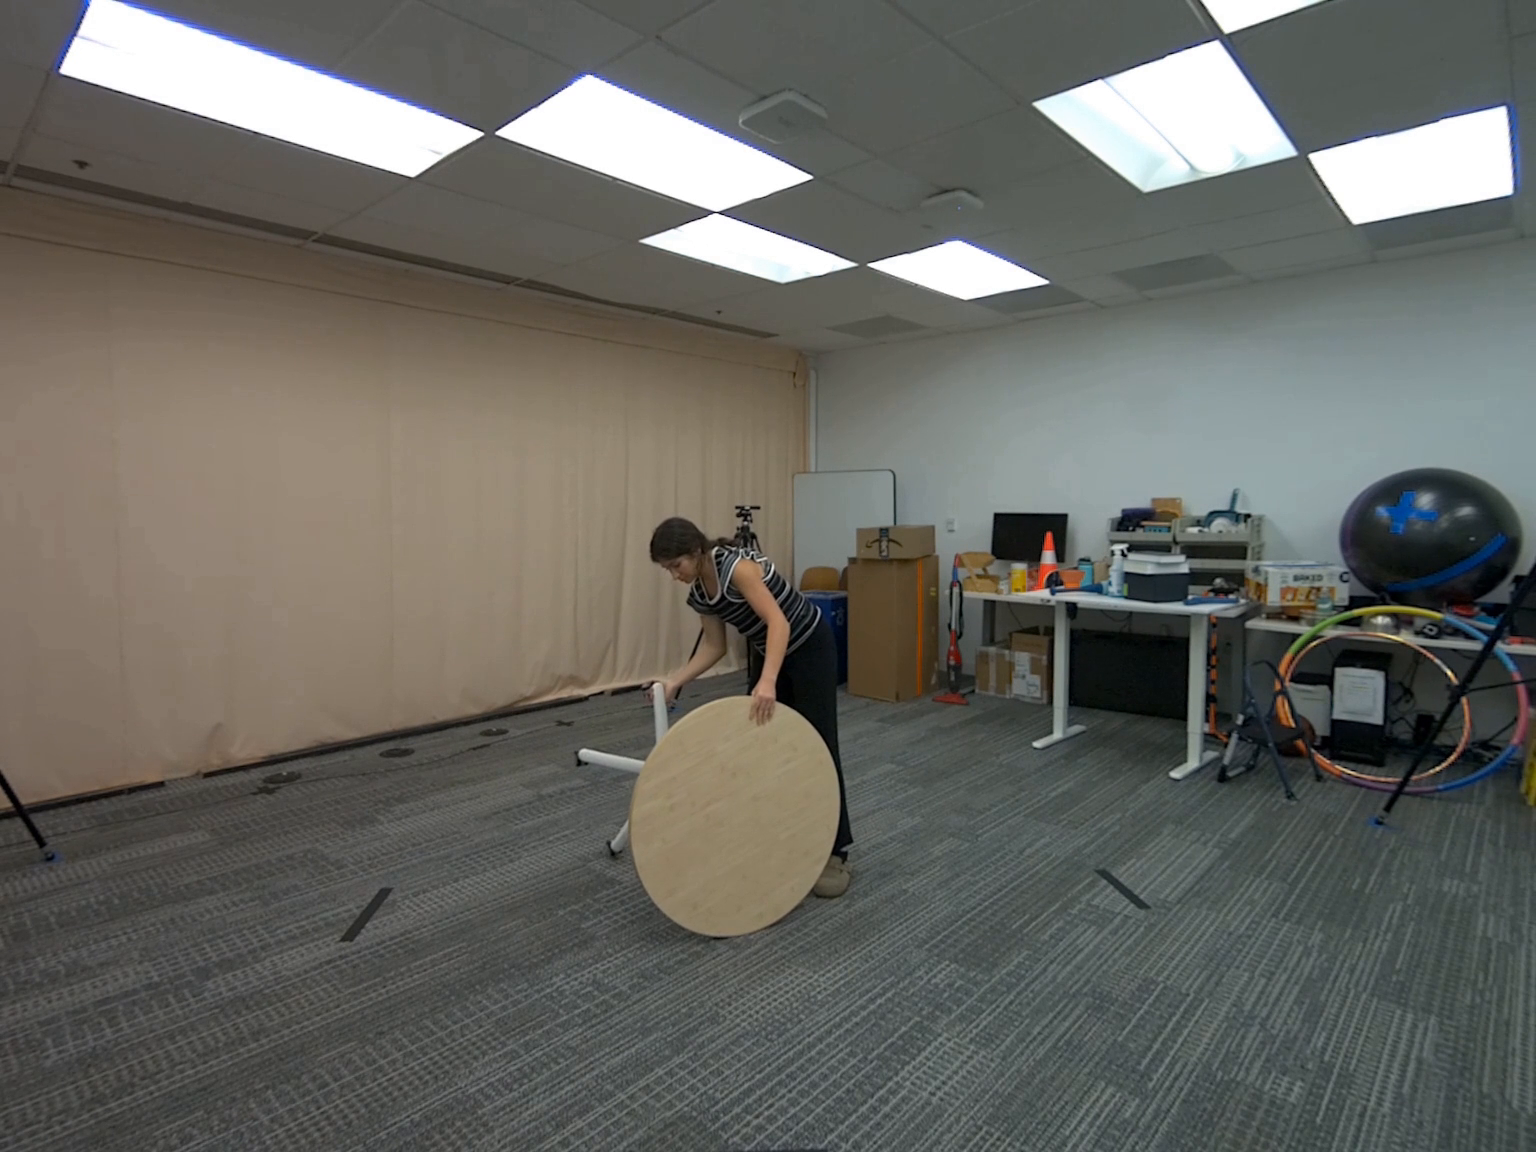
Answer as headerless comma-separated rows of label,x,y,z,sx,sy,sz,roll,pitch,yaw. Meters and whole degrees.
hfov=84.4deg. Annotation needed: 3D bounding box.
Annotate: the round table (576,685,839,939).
round table,-0.286,0.791,3.101,0.745,0.764,0.814,-2,1,-27
